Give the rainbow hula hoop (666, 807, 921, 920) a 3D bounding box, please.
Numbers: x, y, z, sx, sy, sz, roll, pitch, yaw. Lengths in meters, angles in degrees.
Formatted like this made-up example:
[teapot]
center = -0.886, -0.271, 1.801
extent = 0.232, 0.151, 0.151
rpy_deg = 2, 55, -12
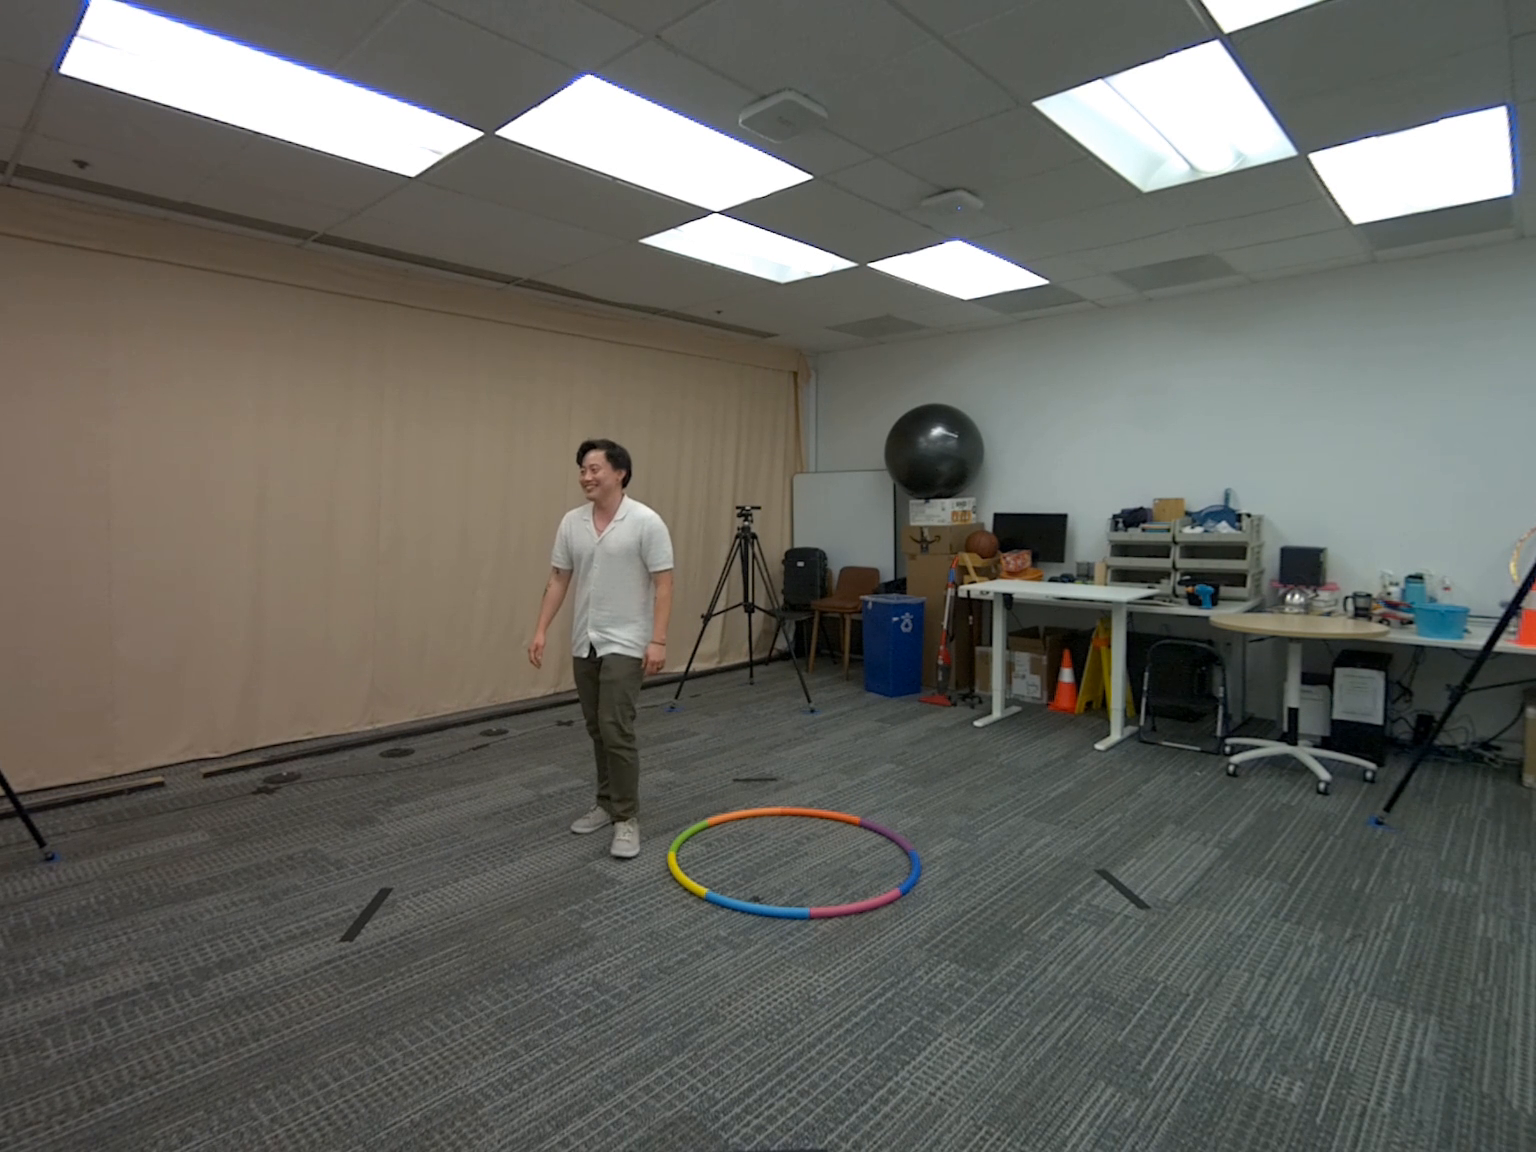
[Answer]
[rainbow hula hoop]
center = 0.096, 1.085, 3.315
extent = 0.978, 0.035, 0.982
rpy_deg = 0, 5, -2
